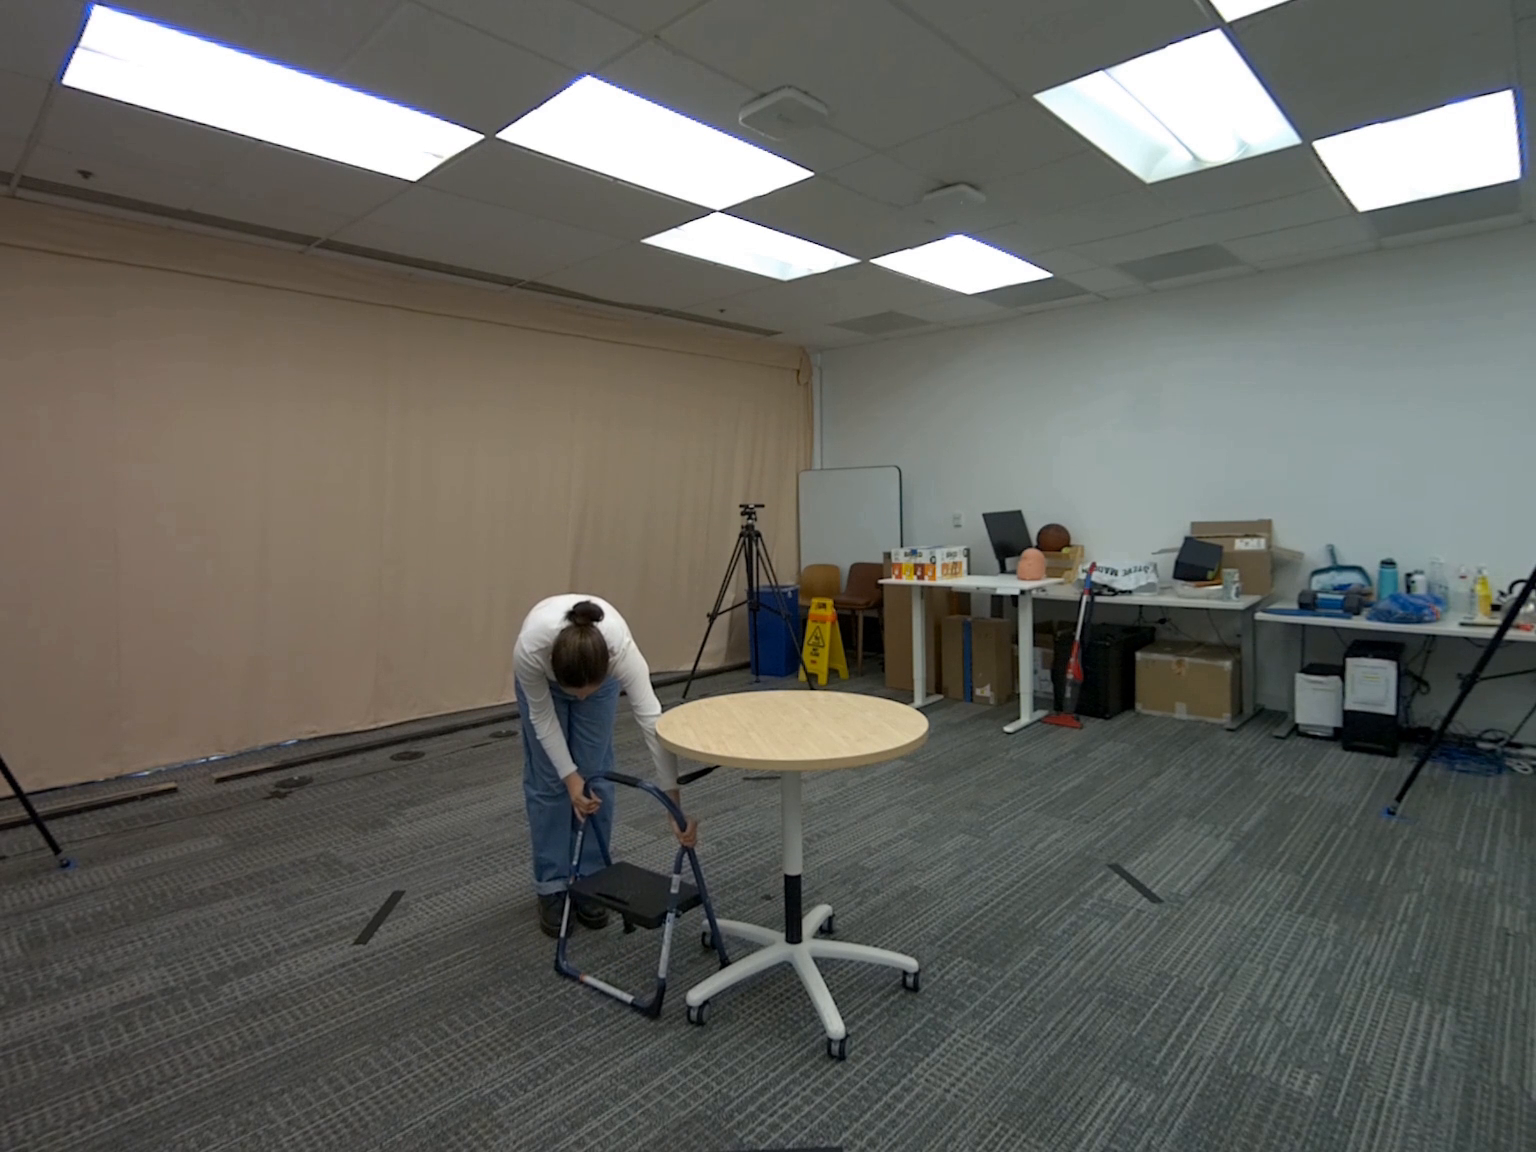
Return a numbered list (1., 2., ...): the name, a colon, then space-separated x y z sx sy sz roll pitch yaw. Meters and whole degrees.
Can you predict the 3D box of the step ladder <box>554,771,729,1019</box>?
1. step ladder: -0.380 0.874 2.521 0.444 0.605 0.339 2 3 35
